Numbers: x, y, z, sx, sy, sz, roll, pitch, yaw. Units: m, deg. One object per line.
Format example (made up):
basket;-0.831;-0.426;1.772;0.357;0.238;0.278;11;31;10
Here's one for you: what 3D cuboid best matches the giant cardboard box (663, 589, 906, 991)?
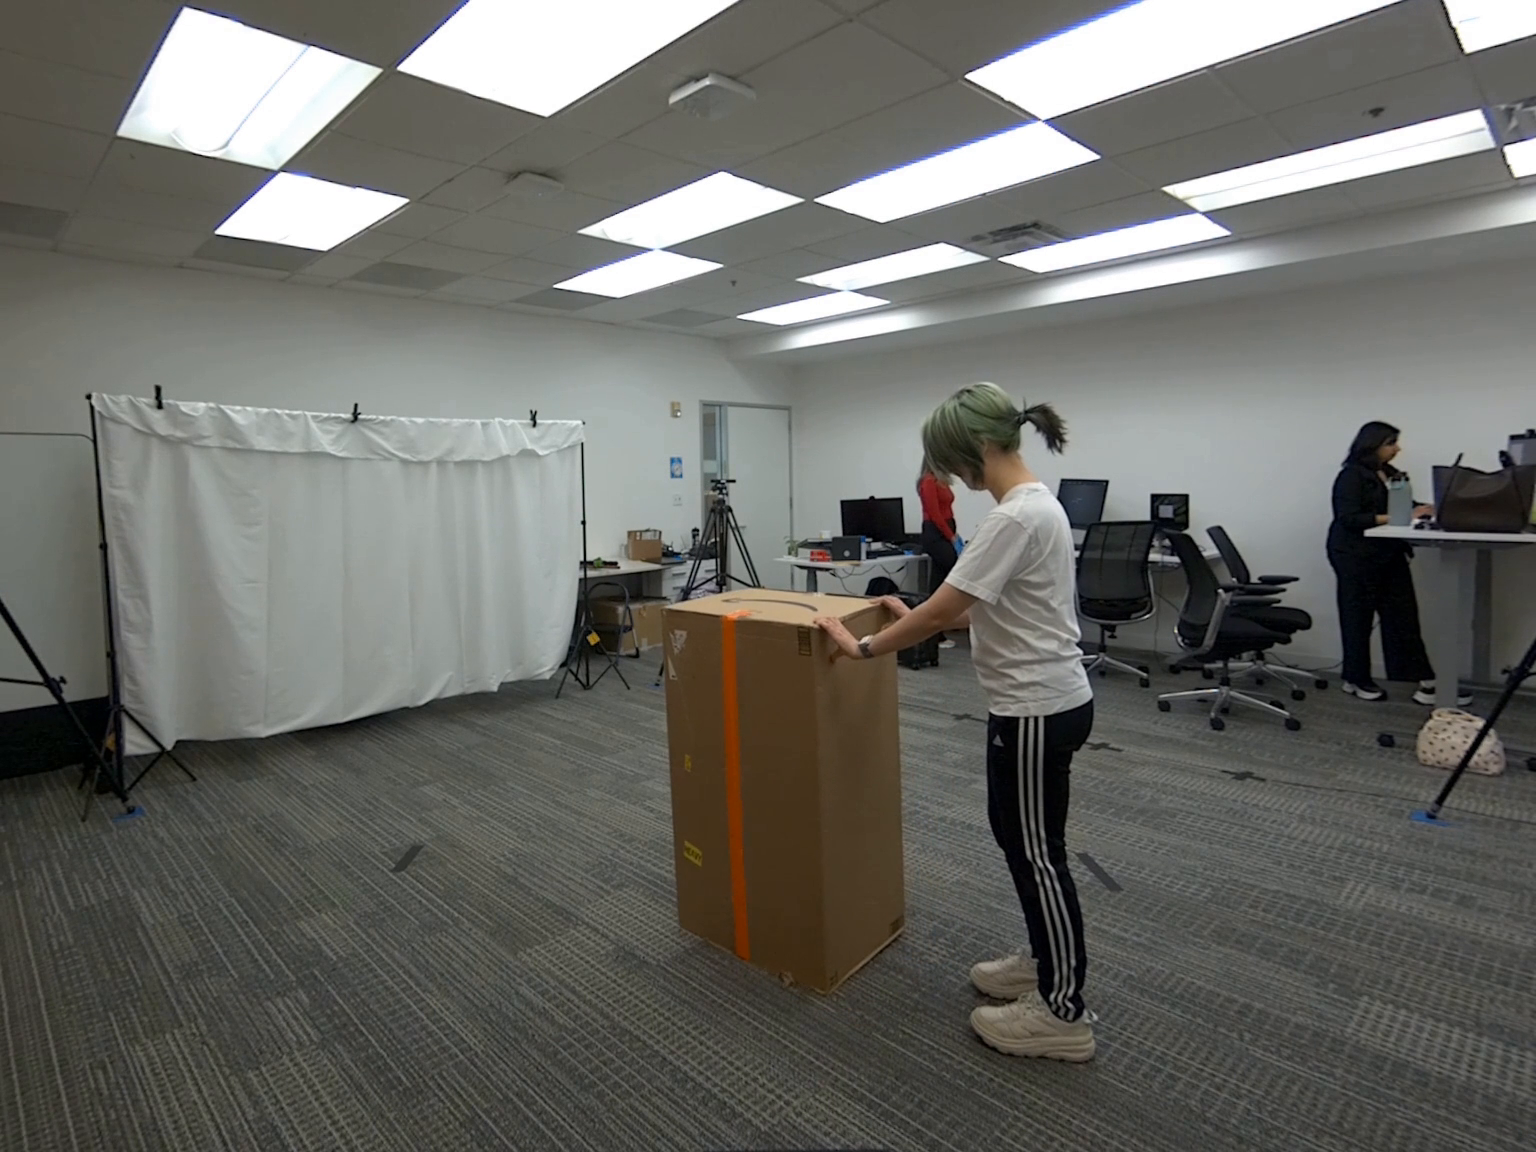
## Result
giant cardboard box;0.047;0.592;2.604;0.601;1.022;0.436;2;6;40
